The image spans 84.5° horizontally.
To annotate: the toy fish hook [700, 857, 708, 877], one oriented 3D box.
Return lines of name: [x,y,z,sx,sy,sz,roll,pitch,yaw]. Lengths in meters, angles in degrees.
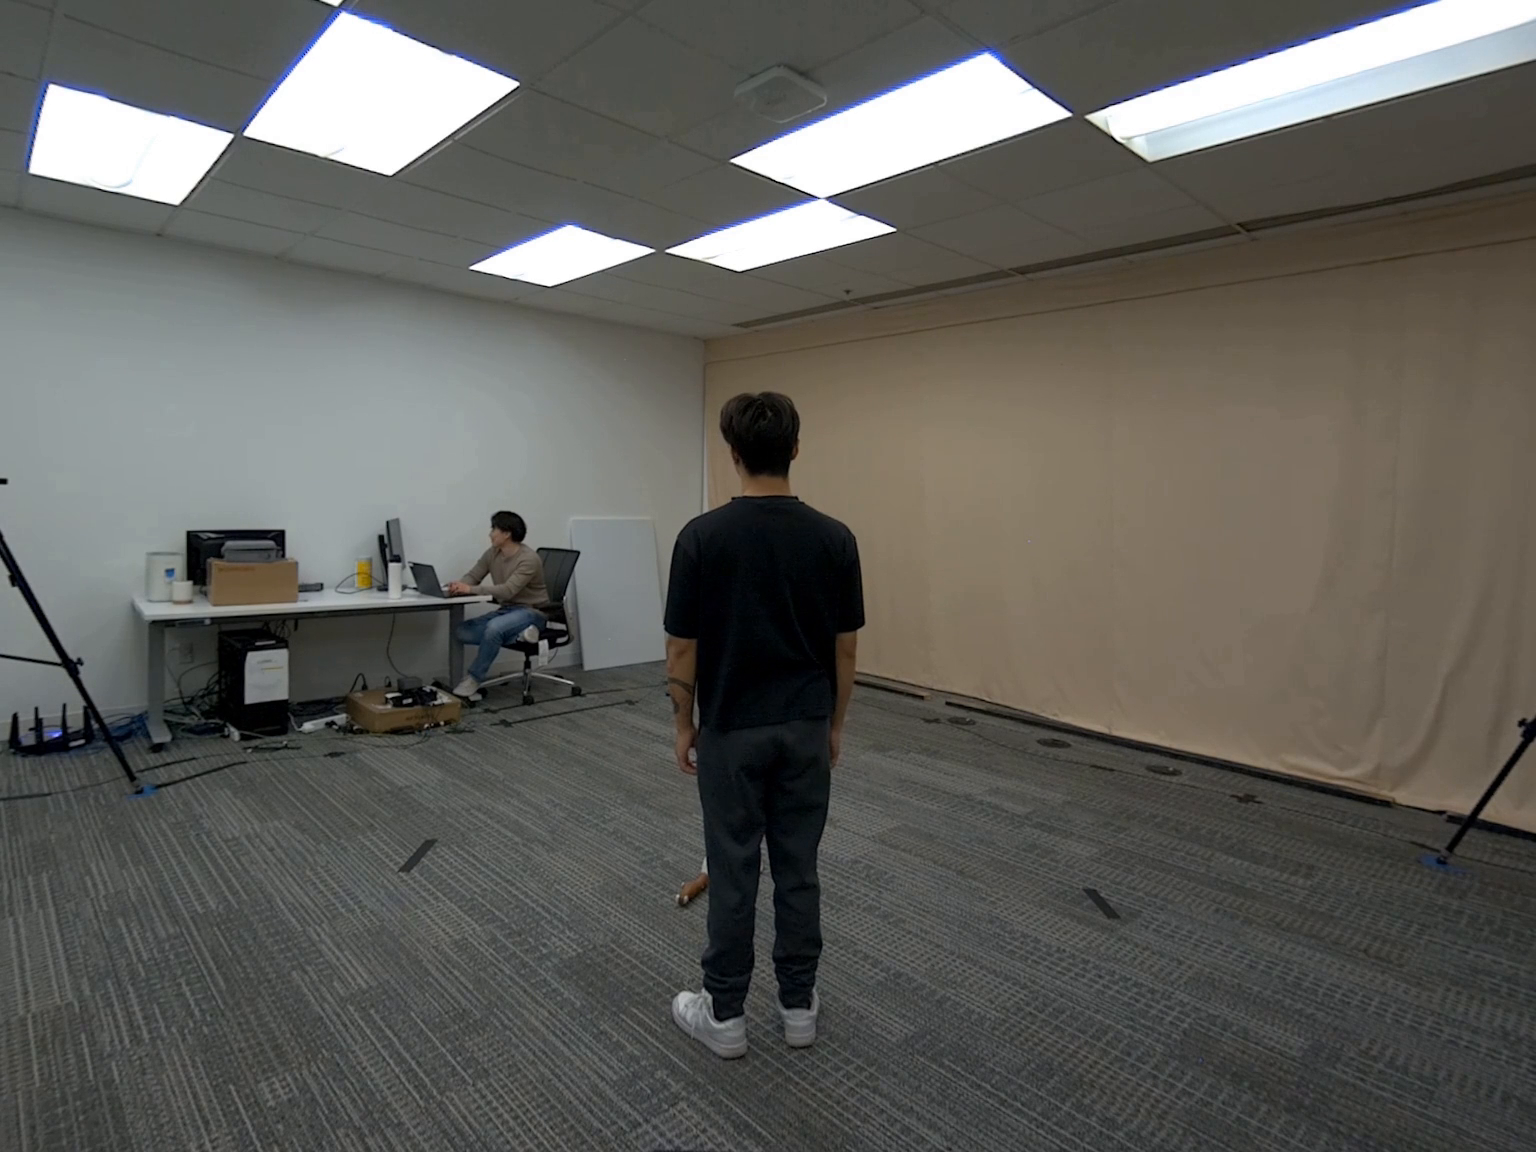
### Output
toy fish hook: [-0.170,1.091,3.059,0.228,0.048,0.500,1,5,20]
